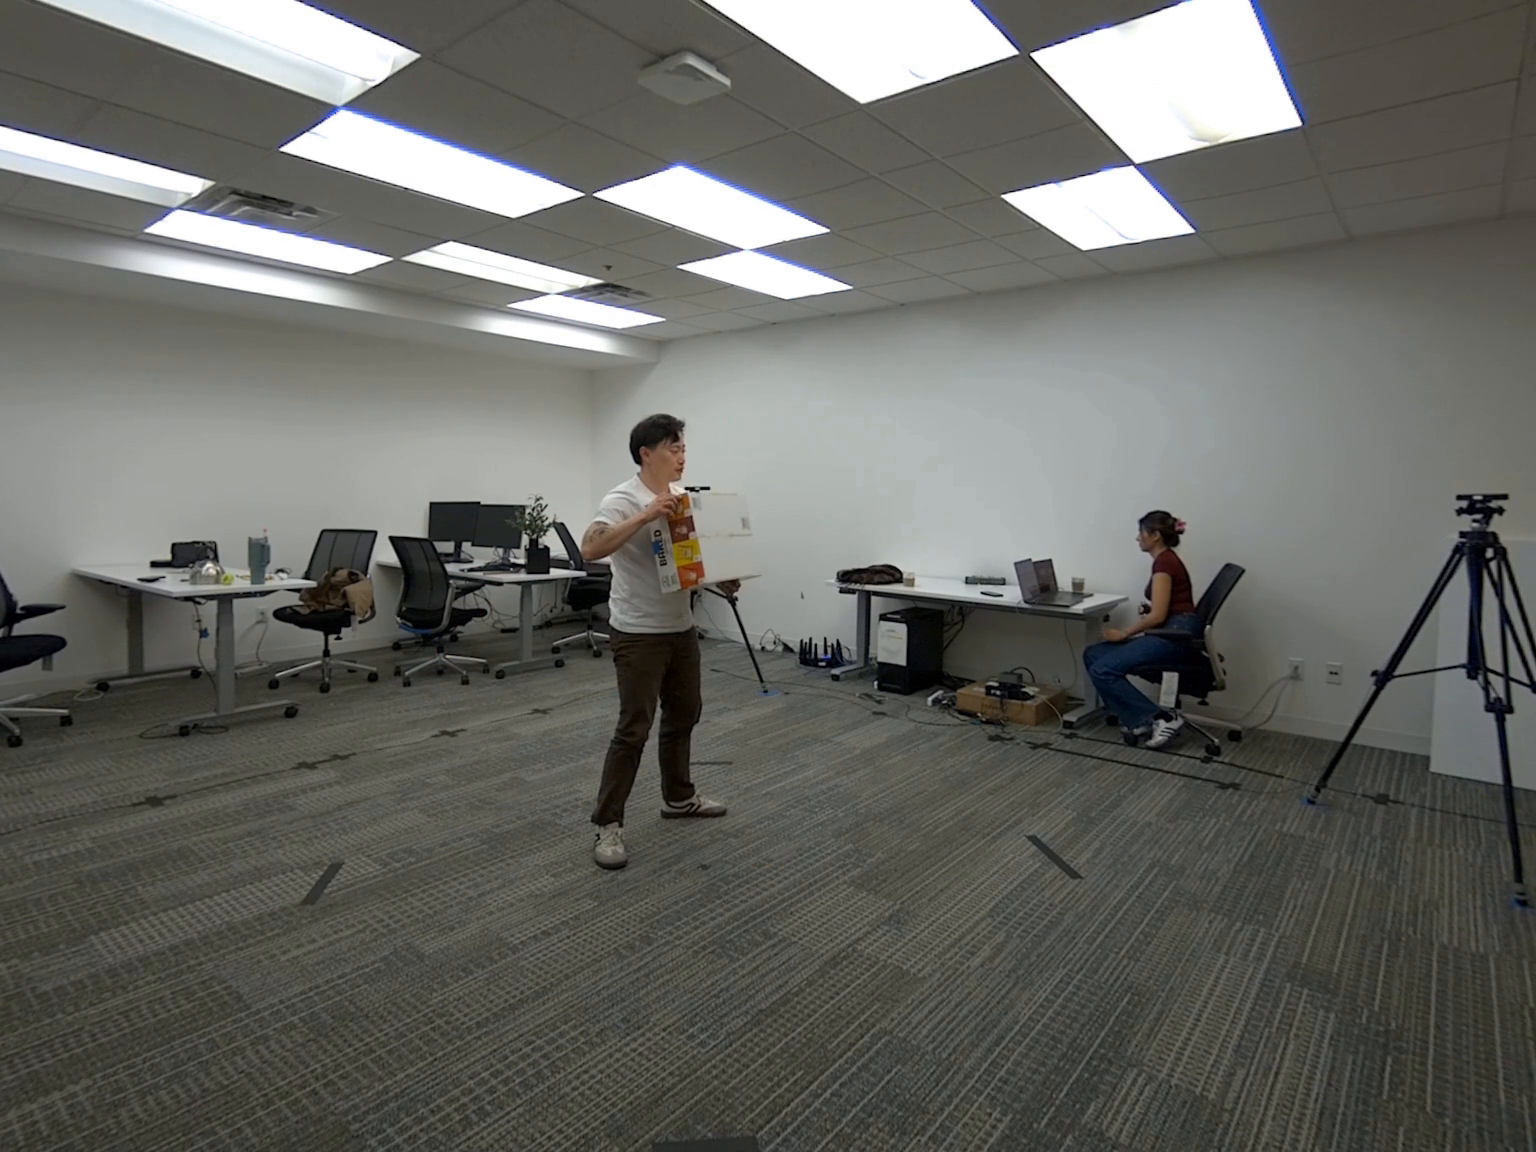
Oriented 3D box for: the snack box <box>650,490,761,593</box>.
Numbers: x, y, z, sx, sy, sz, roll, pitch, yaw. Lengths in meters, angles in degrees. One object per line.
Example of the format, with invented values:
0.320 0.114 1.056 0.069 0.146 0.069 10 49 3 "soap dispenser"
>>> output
-0.251 -0.133 3.253 0.210 0.342 0.395 -13 -3 31 "snack box"
